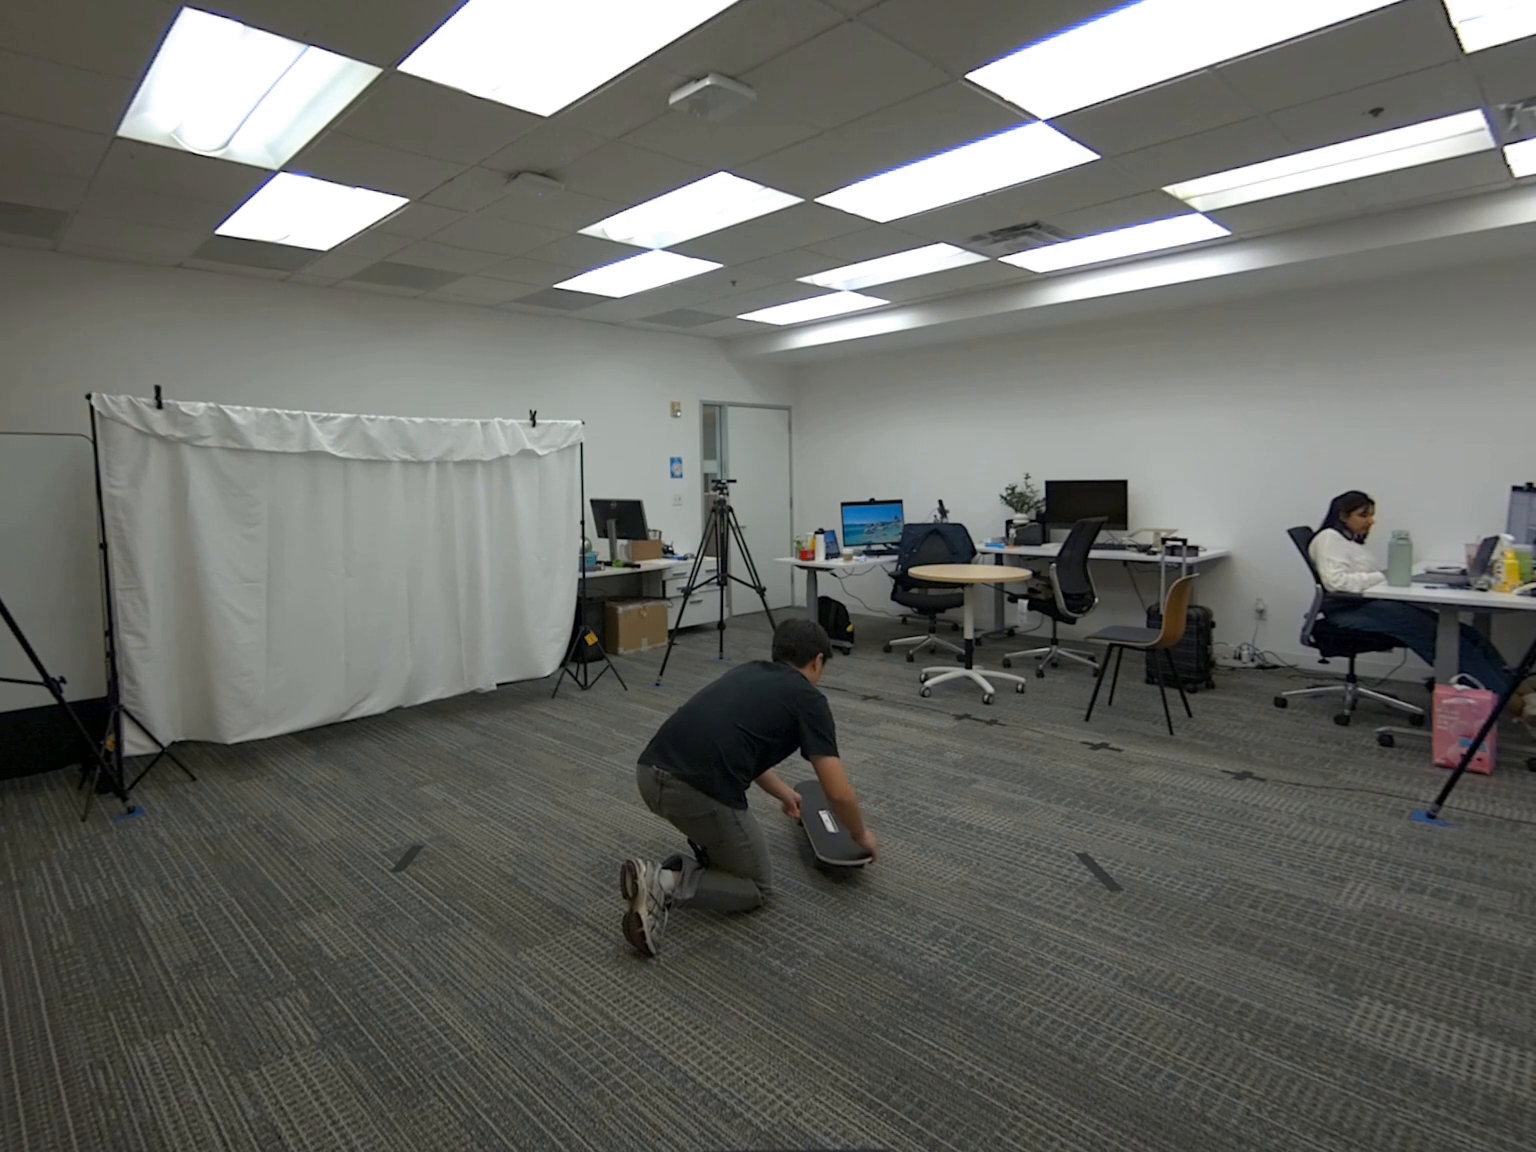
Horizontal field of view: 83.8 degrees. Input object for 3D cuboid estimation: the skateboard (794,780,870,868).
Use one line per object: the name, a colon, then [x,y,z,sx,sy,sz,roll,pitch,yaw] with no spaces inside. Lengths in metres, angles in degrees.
skateboard: [0.231,0.962,3.260,0.192,0.110,0.793,-2,7,-7]
